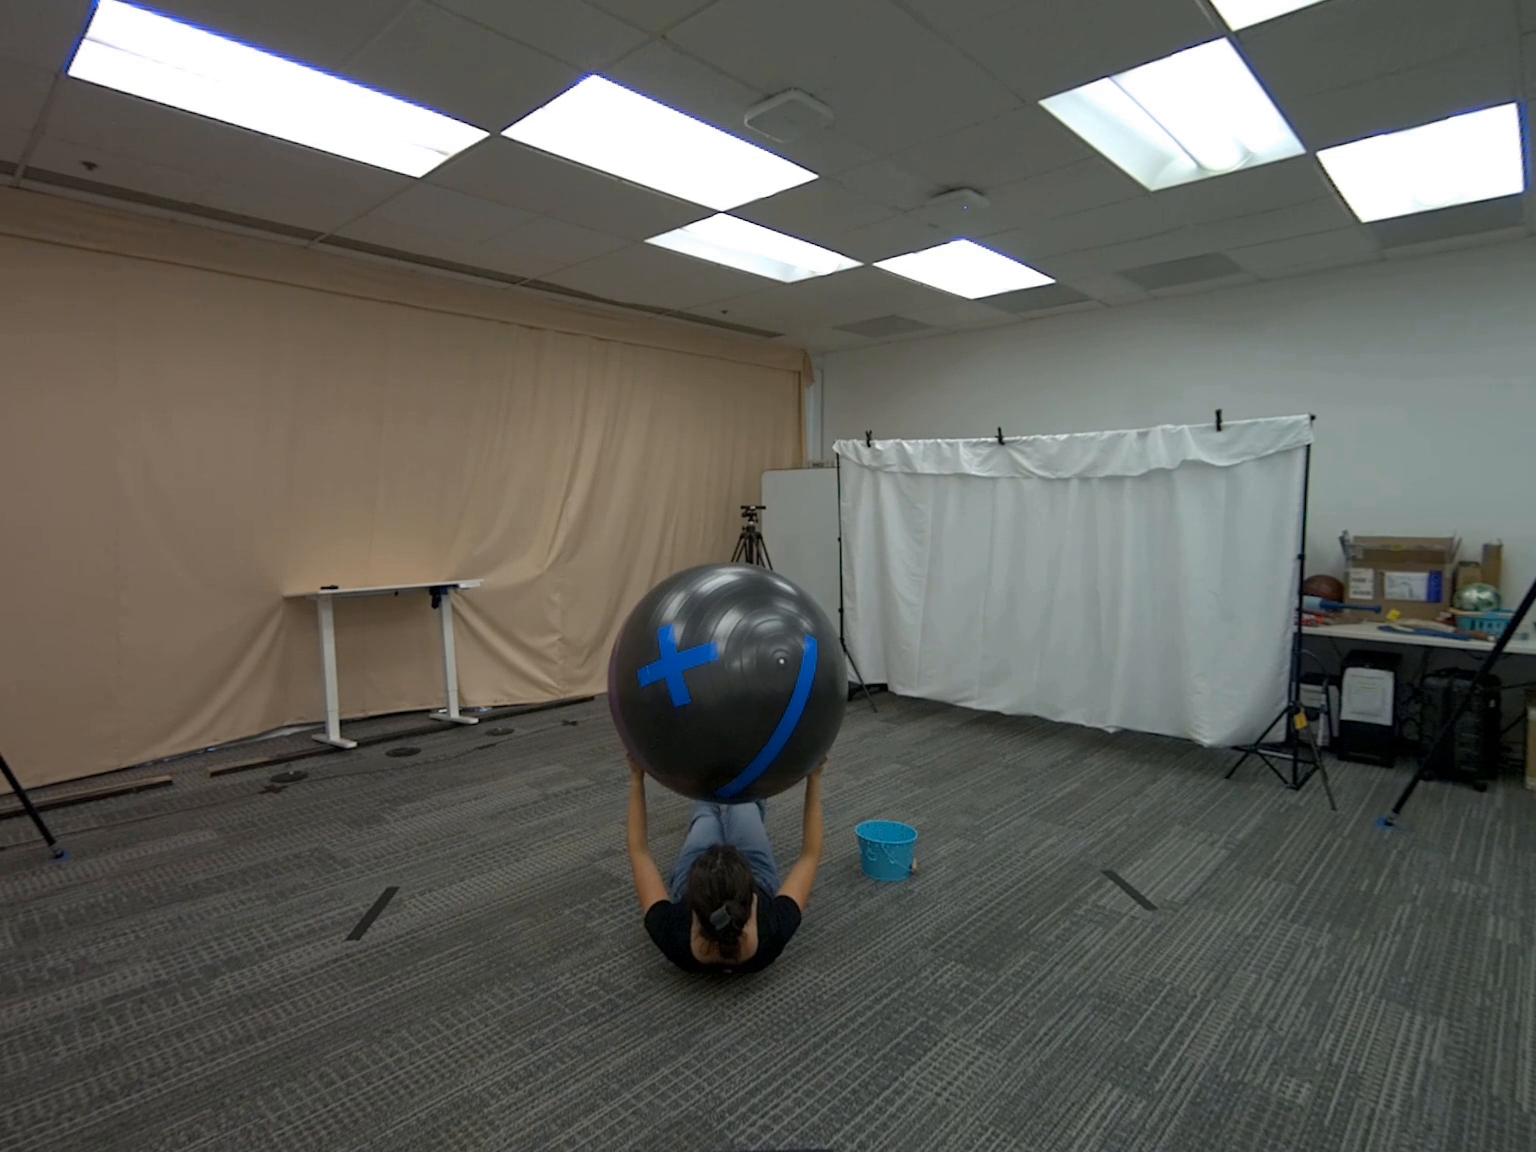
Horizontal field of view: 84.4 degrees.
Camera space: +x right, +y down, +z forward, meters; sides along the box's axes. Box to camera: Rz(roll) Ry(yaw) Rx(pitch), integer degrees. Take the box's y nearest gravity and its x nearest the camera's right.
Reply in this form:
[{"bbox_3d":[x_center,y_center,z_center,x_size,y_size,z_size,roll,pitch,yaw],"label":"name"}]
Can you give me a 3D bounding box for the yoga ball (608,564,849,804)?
[{"bbox_3d":[-0.128,0.338,2.678,0.757,0.756,0.760,0,4,-2],"label":"yoga ball"}]
